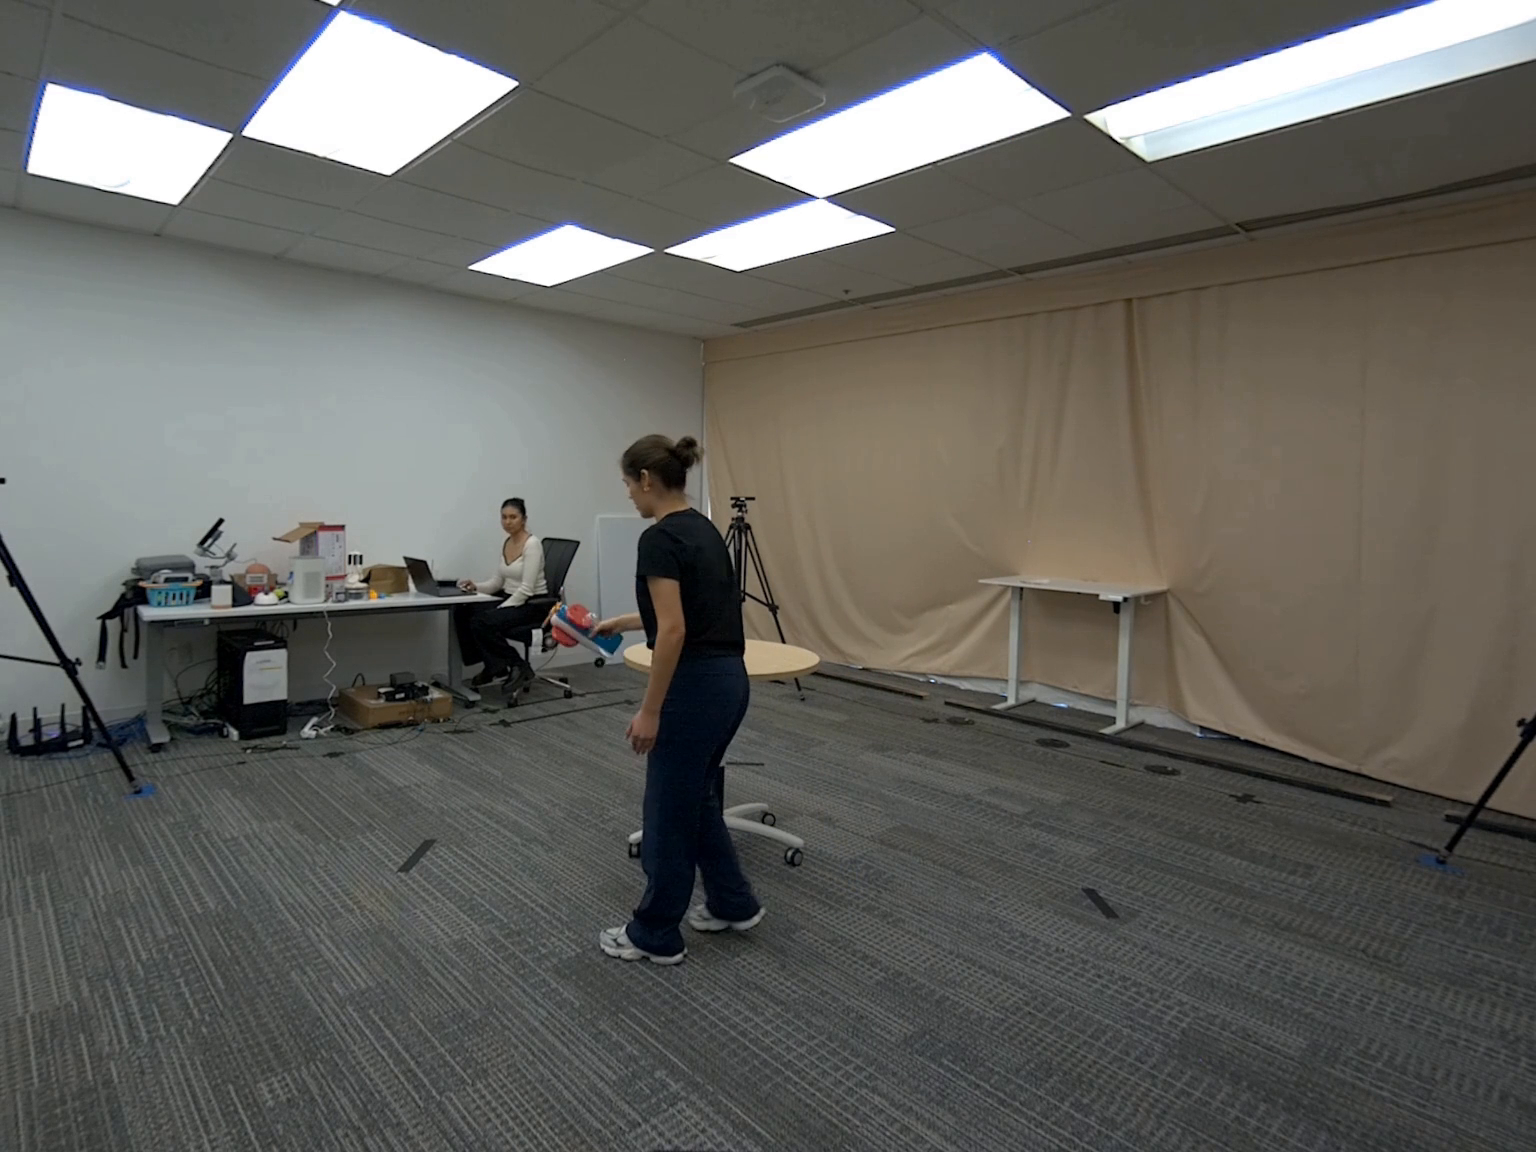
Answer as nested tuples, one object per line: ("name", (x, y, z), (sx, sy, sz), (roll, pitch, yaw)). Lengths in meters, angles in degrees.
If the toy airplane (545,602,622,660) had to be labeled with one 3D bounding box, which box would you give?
("toy airplane", (-0.626, 0.199, 2.853), (0.252, 0.156, 0.258), (21, 3, -31))
